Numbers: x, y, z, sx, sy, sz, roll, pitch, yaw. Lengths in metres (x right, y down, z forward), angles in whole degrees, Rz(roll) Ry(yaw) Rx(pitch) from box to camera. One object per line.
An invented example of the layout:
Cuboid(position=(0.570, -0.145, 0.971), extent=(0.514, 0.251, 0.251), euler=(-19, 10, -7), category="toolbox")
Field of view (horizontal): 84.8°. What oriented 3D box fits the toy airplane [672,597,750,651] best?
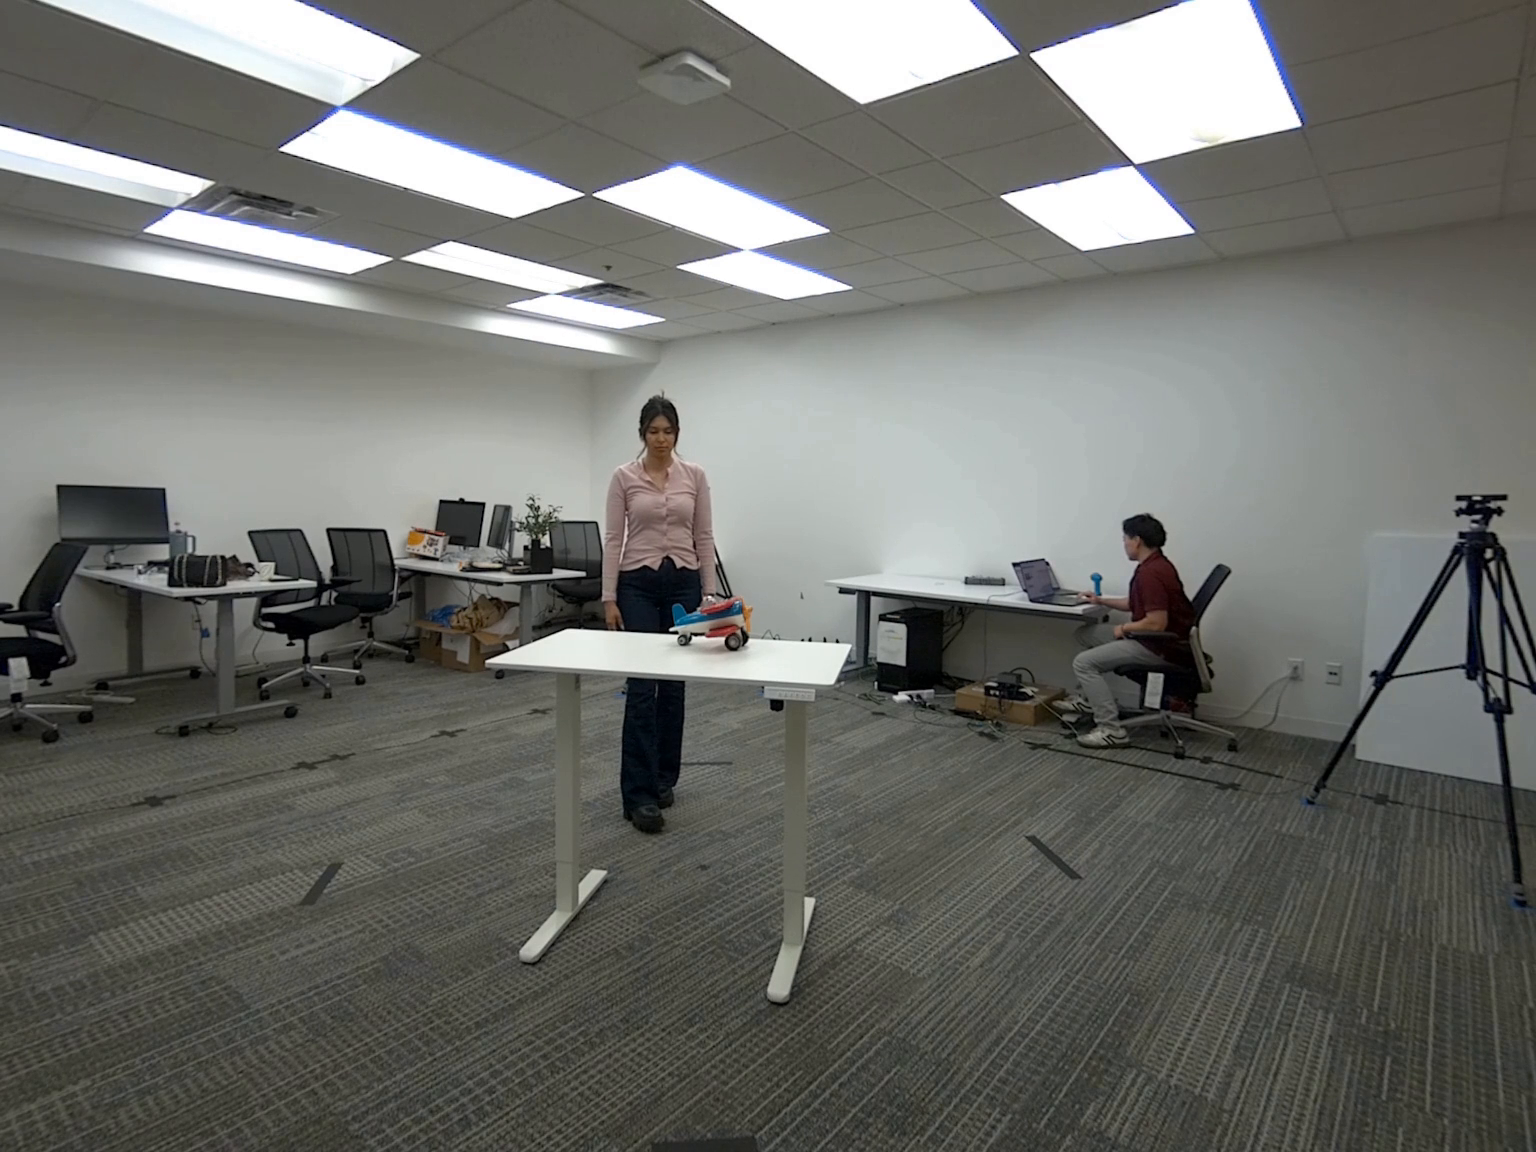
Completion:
Cuboid(position=(-0.189, 0.147, 2.707), extent=(0.255, 0.156, 0.256), euler=(0, 5, -15), category="toy airplane")
